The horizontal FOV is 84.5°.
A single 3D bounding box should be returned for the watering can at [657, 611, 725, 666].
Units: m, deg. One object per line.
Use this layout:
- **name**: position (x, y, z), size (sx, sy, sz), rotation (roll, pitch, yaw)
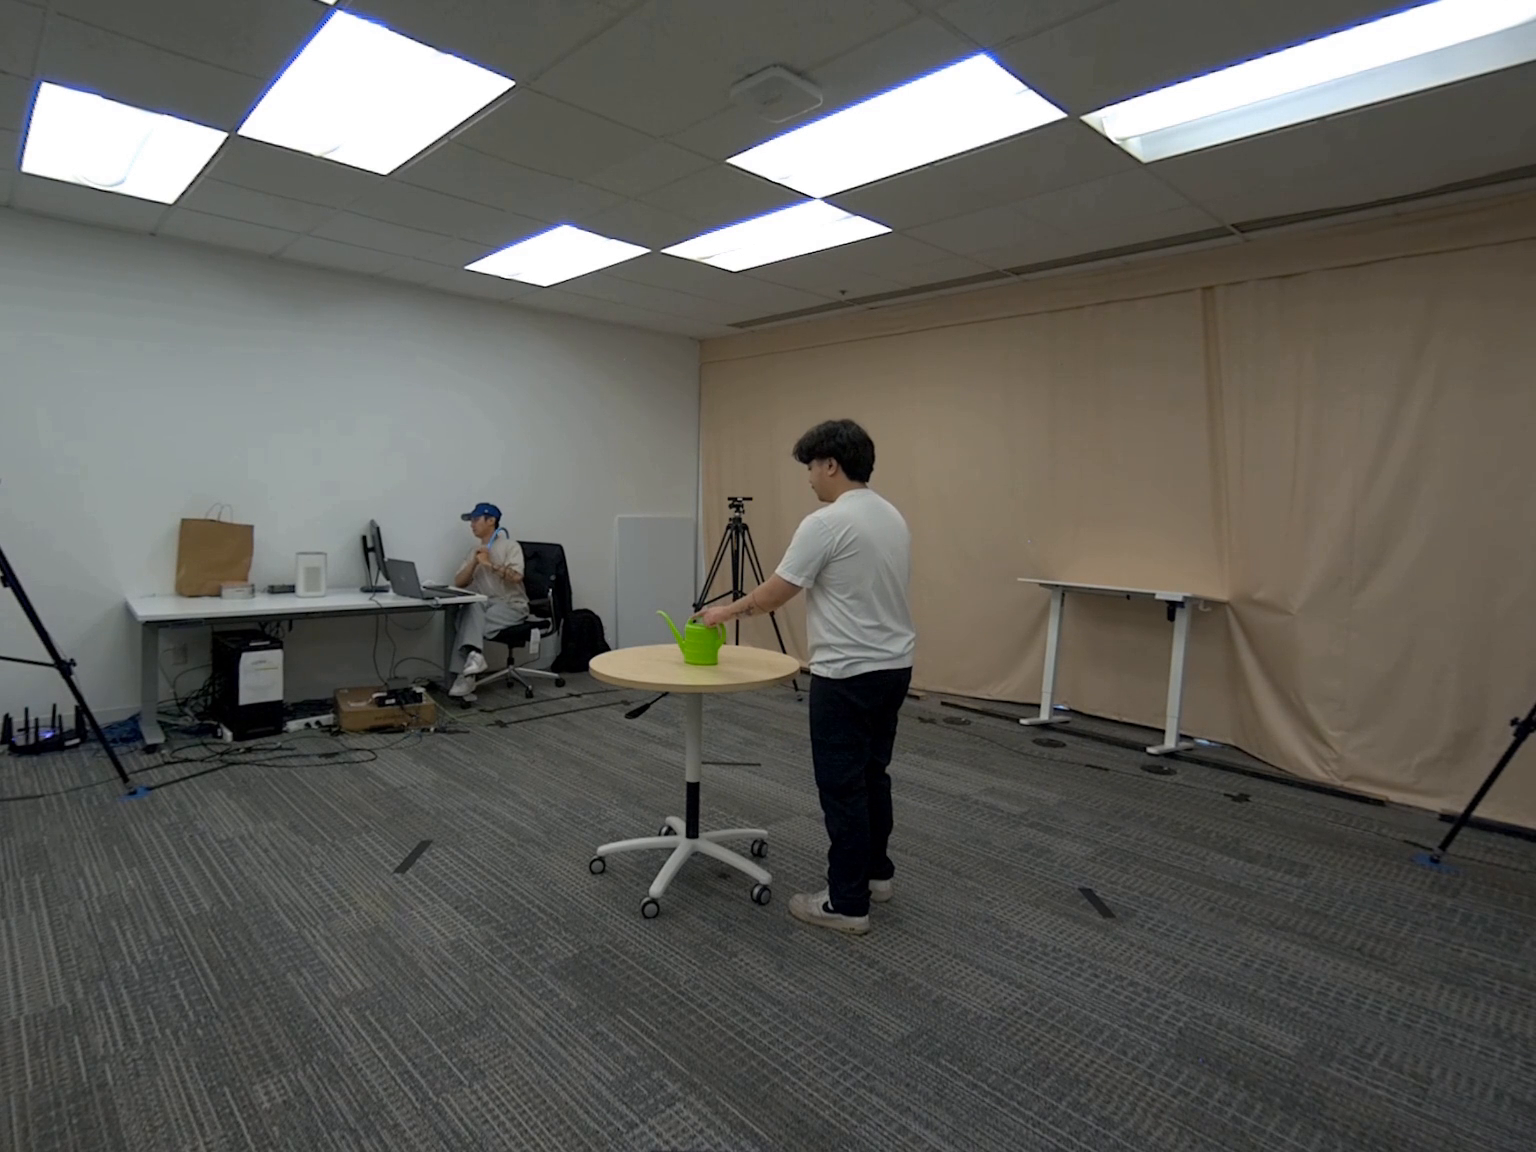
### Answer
- **watering can**: position (-0.275, 0.226, 3.084), size (0.285, 0.176, 0.096), rotation (9, 5, 37)
